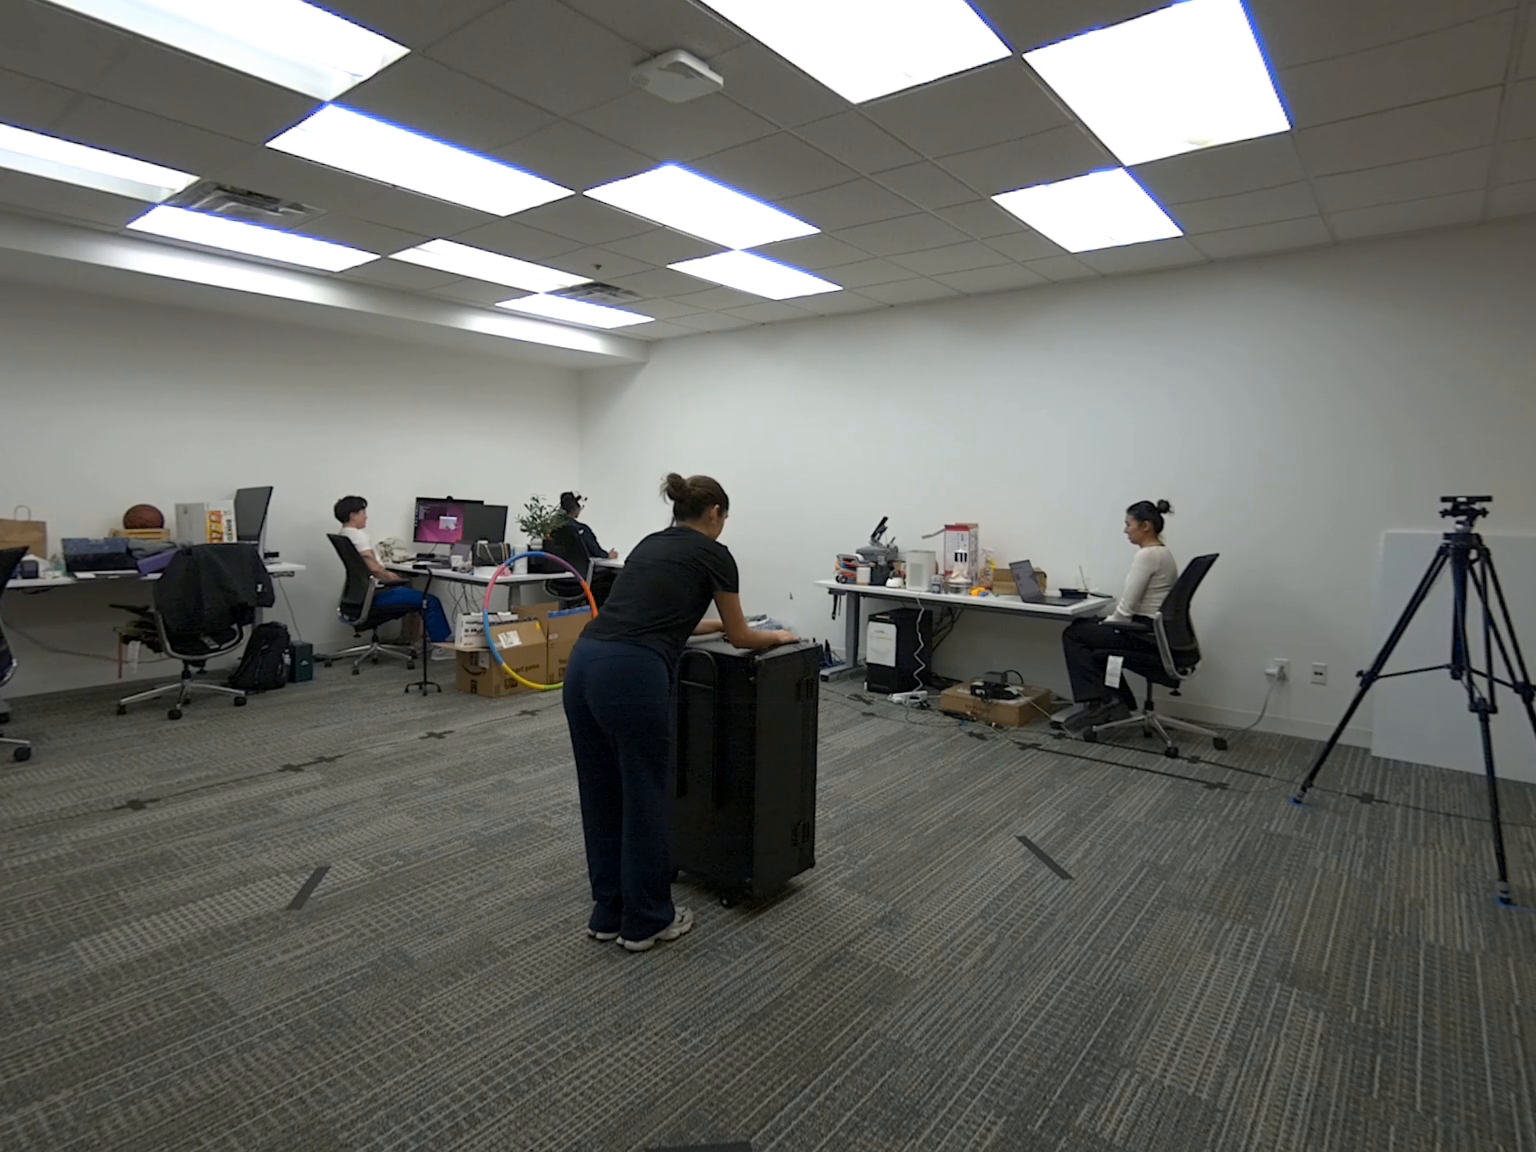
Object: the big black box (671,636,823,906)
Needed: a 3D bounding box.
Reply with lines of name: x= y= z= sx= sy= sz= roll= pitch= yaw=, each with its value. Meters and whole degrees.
big black box: x=-0.114 y=0.595 z=2.993 sx=0.539 sy=0.859 sz=0.384 roll=5 pitch=4 yaw=40
